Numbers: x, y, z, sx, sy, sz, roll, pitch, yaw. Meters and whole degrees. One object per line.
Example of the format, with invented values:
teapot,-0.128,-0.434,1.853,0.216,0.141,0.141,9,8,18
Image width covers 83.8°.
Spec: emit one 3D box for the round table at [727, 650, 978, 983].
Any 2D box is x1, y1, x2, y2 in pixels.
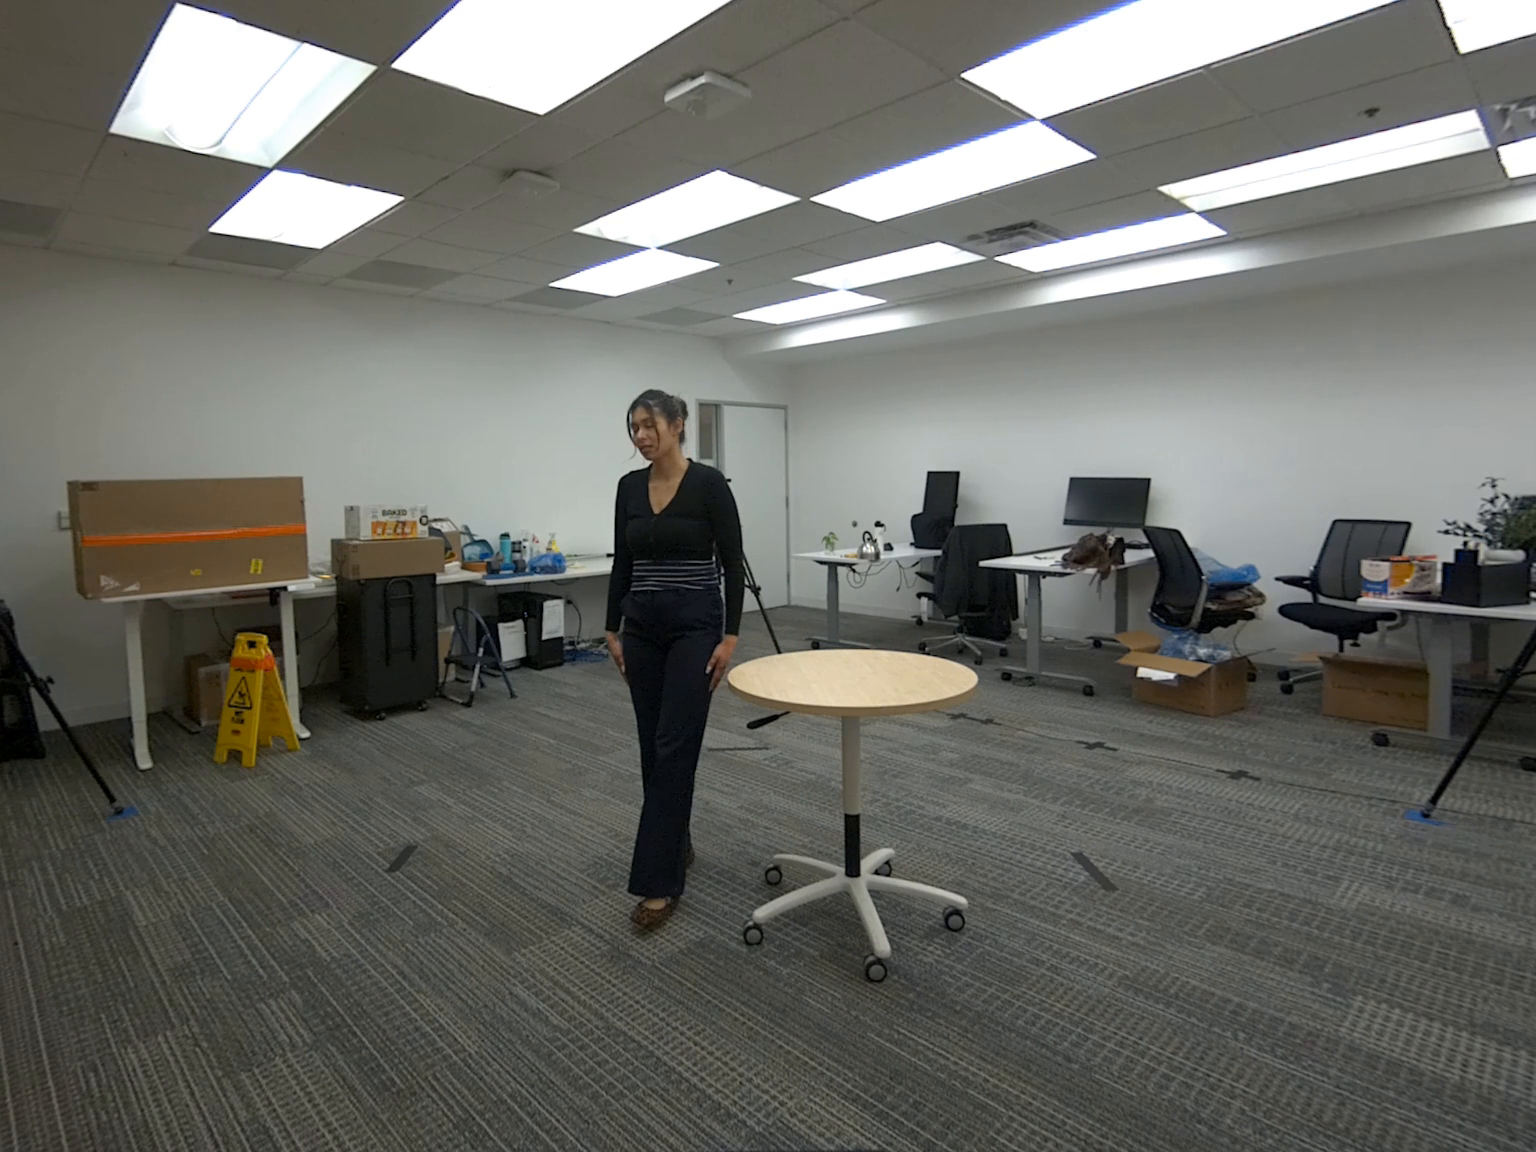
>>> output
round table,0.267,0.701,2.679,0.763,0.791,0.768,-1,5,-2
